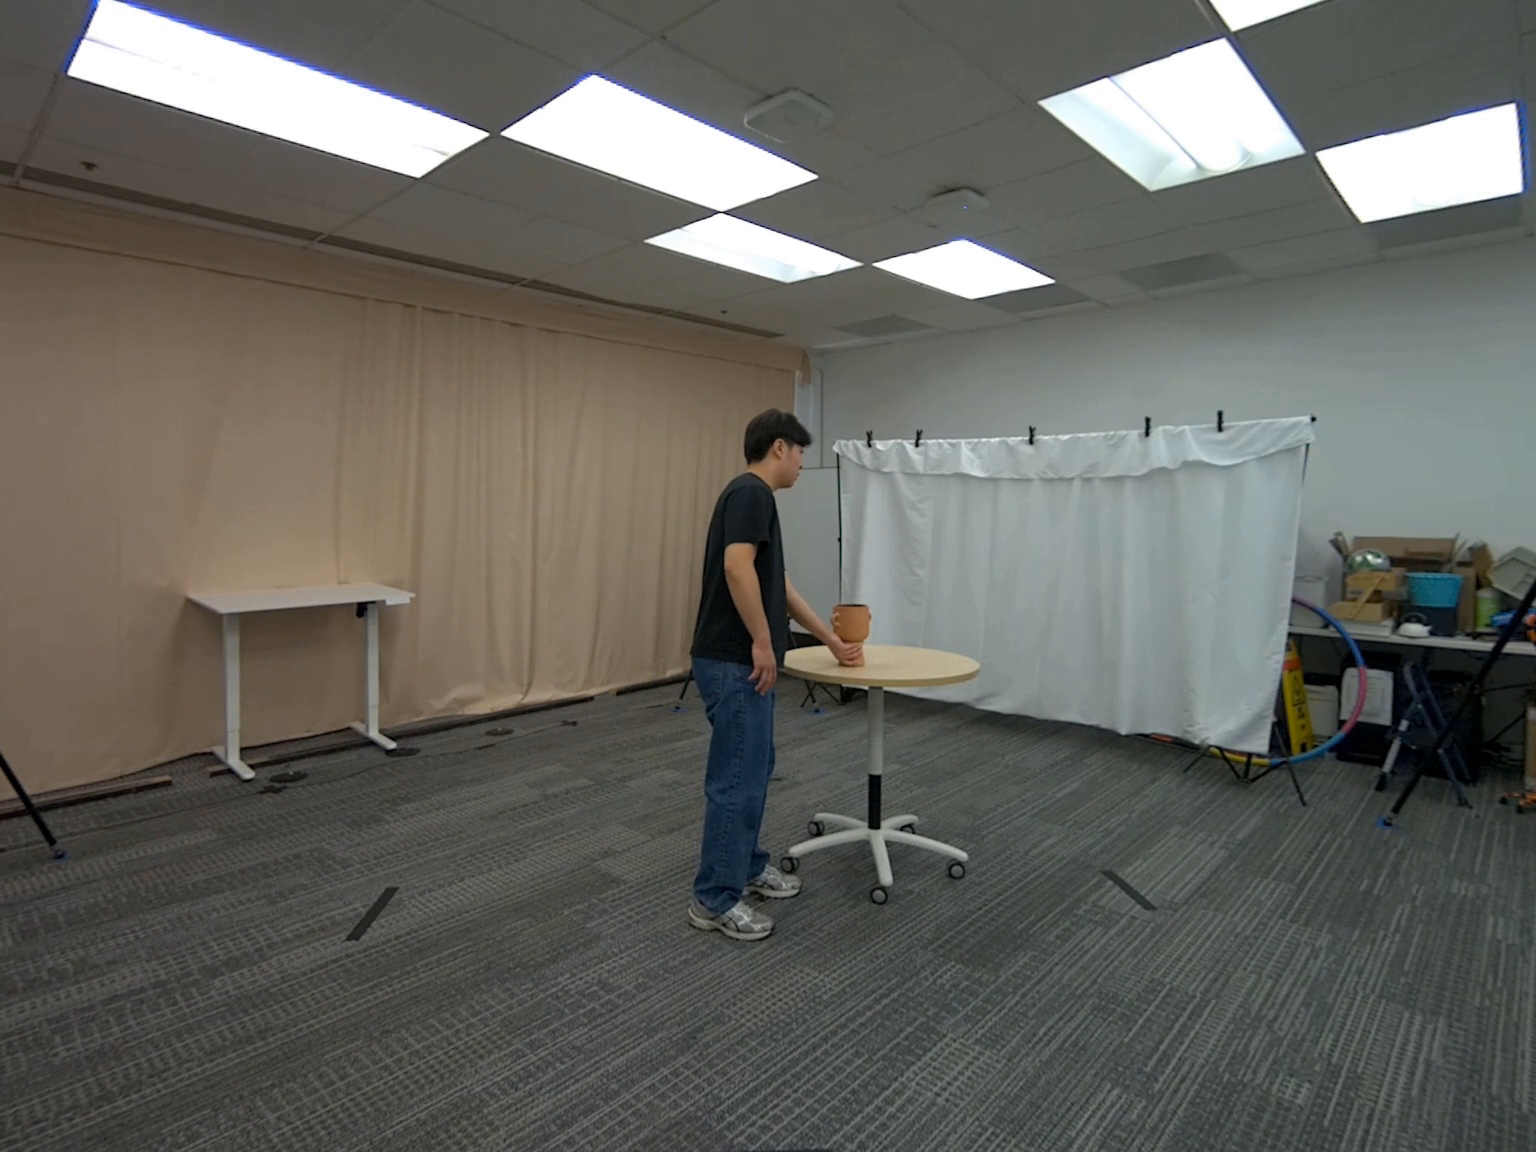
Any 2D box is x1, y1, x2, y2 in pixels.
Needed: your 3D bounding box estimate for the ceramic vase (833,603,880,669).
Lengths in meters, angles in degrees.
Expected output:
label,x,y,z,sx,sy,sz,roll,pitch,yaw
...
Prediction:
label,x,y,z,sx,sy,sz,roll,pitch,yaw
ceramic vase,0.324,0.219,3.137,0.160,0.219,0.134,-1,3,7
